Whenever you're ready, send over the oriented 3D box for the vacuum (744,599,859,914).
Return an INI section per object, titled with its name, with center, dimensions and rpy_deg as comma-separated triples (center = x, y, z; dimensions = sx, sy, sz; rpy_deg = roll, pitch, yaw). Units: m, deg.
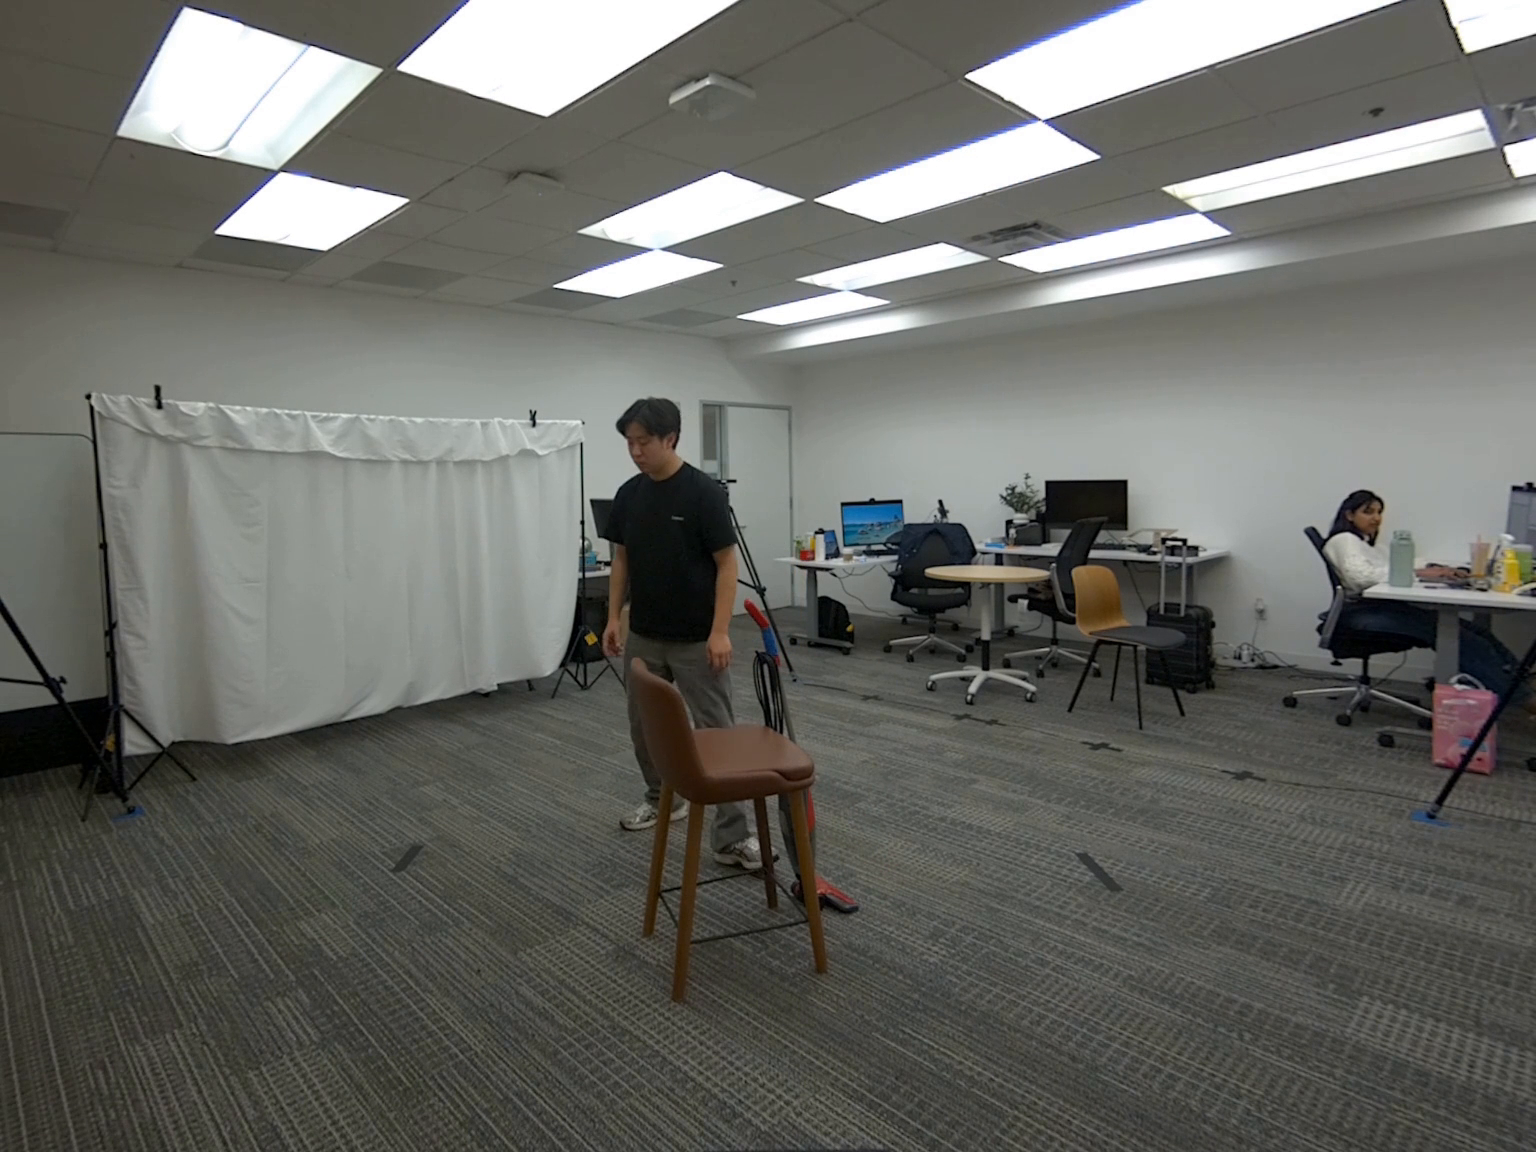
[vacuum]
center = 0.055, 0.577, 2.734
dimensions = 0.141, 1.037, 0.260
rpy_deg = -19, 13, -33
